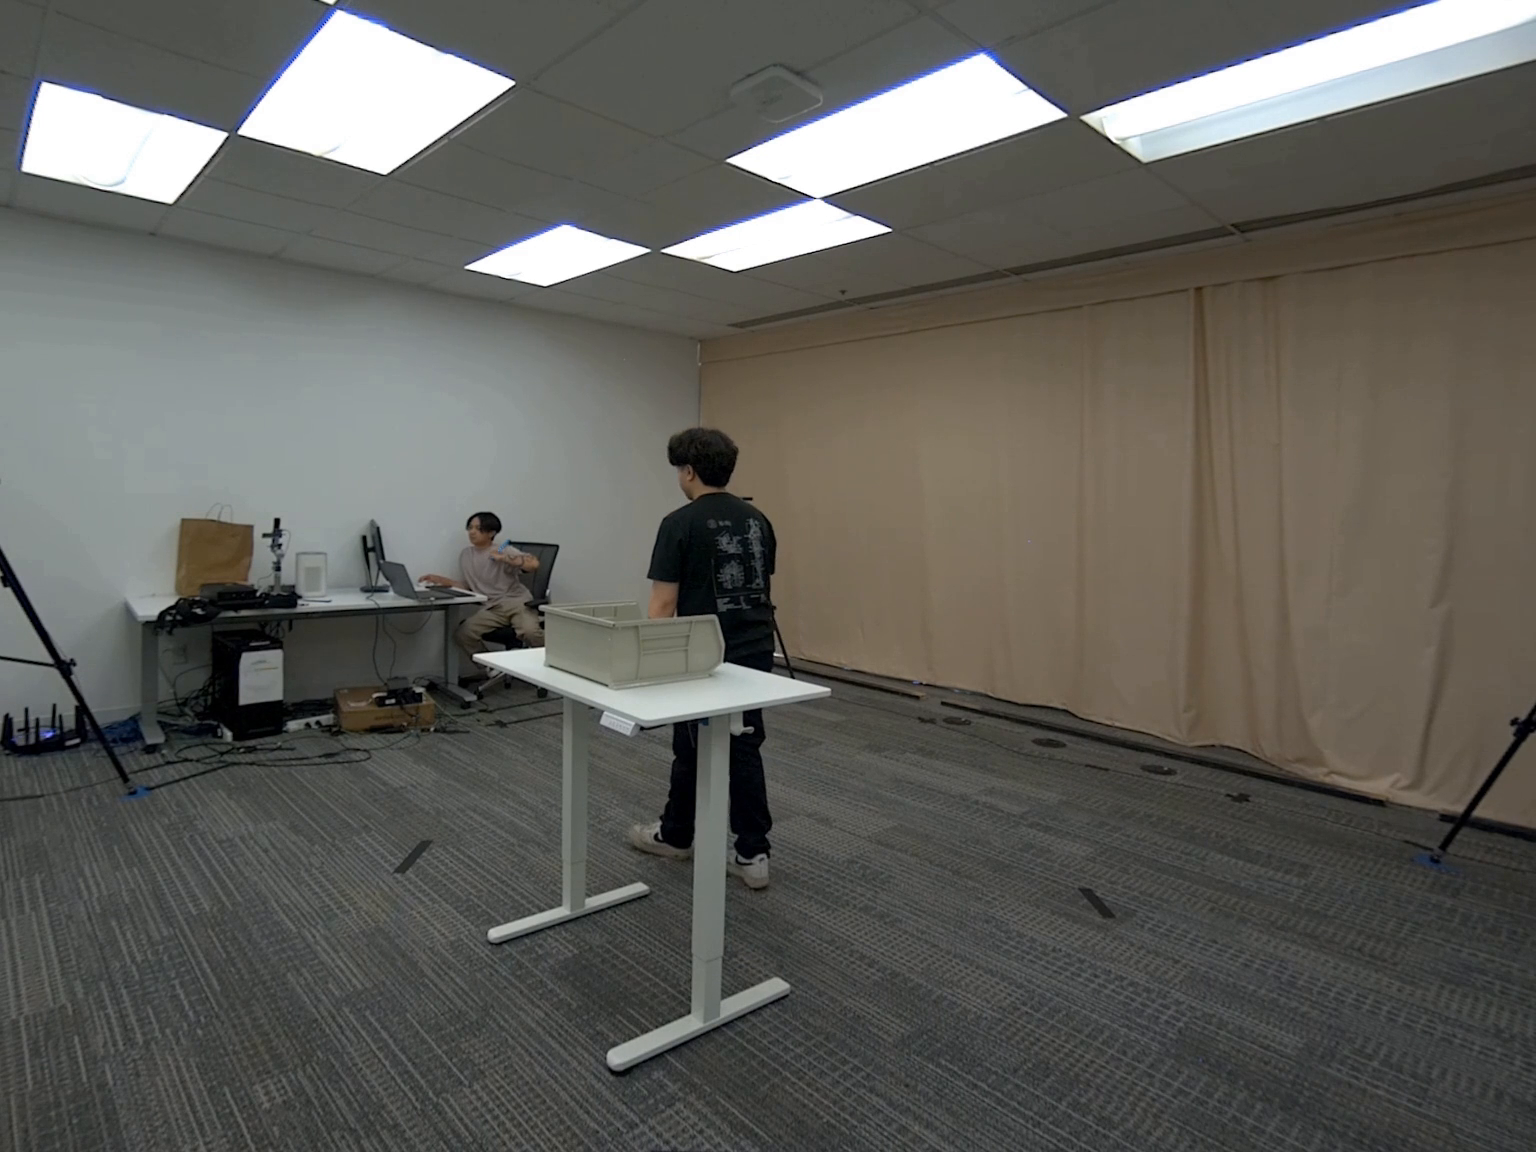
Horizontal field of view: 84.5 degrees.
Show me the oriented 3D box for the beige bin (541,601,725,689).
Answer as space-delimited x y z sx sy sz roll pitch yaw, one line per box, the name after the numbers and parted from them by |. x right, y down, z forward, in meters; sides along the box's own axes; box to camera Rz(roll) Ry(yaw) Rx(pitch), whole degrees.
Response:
-0.412 0.192 2.453 0.369 0.188 0.433 -3 6 -39 | beige bin
